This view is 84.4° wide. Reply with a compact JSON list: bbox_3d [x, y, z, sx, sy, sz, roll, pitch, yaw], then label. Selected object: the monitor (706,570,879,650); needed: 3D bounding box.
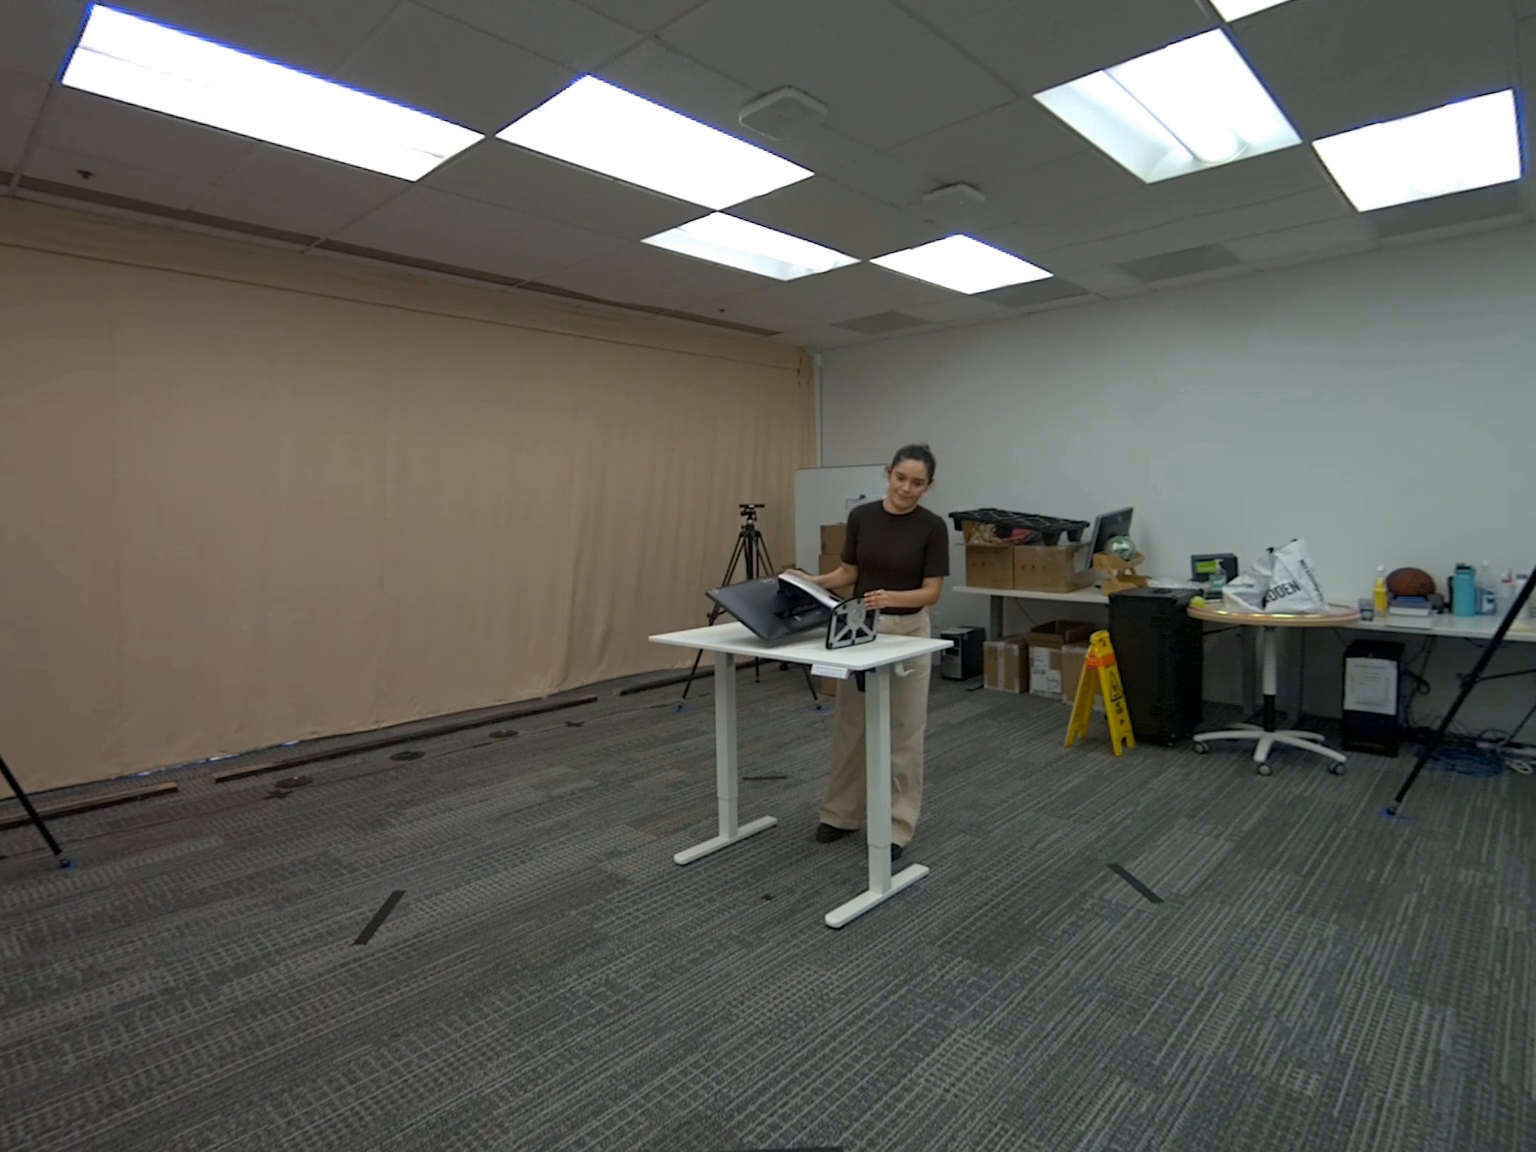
[{"bbox_3d":[0.141,0.101,3.158,0.523,0.186,0.542,-7,21,-41],"label":"monitor"}]
